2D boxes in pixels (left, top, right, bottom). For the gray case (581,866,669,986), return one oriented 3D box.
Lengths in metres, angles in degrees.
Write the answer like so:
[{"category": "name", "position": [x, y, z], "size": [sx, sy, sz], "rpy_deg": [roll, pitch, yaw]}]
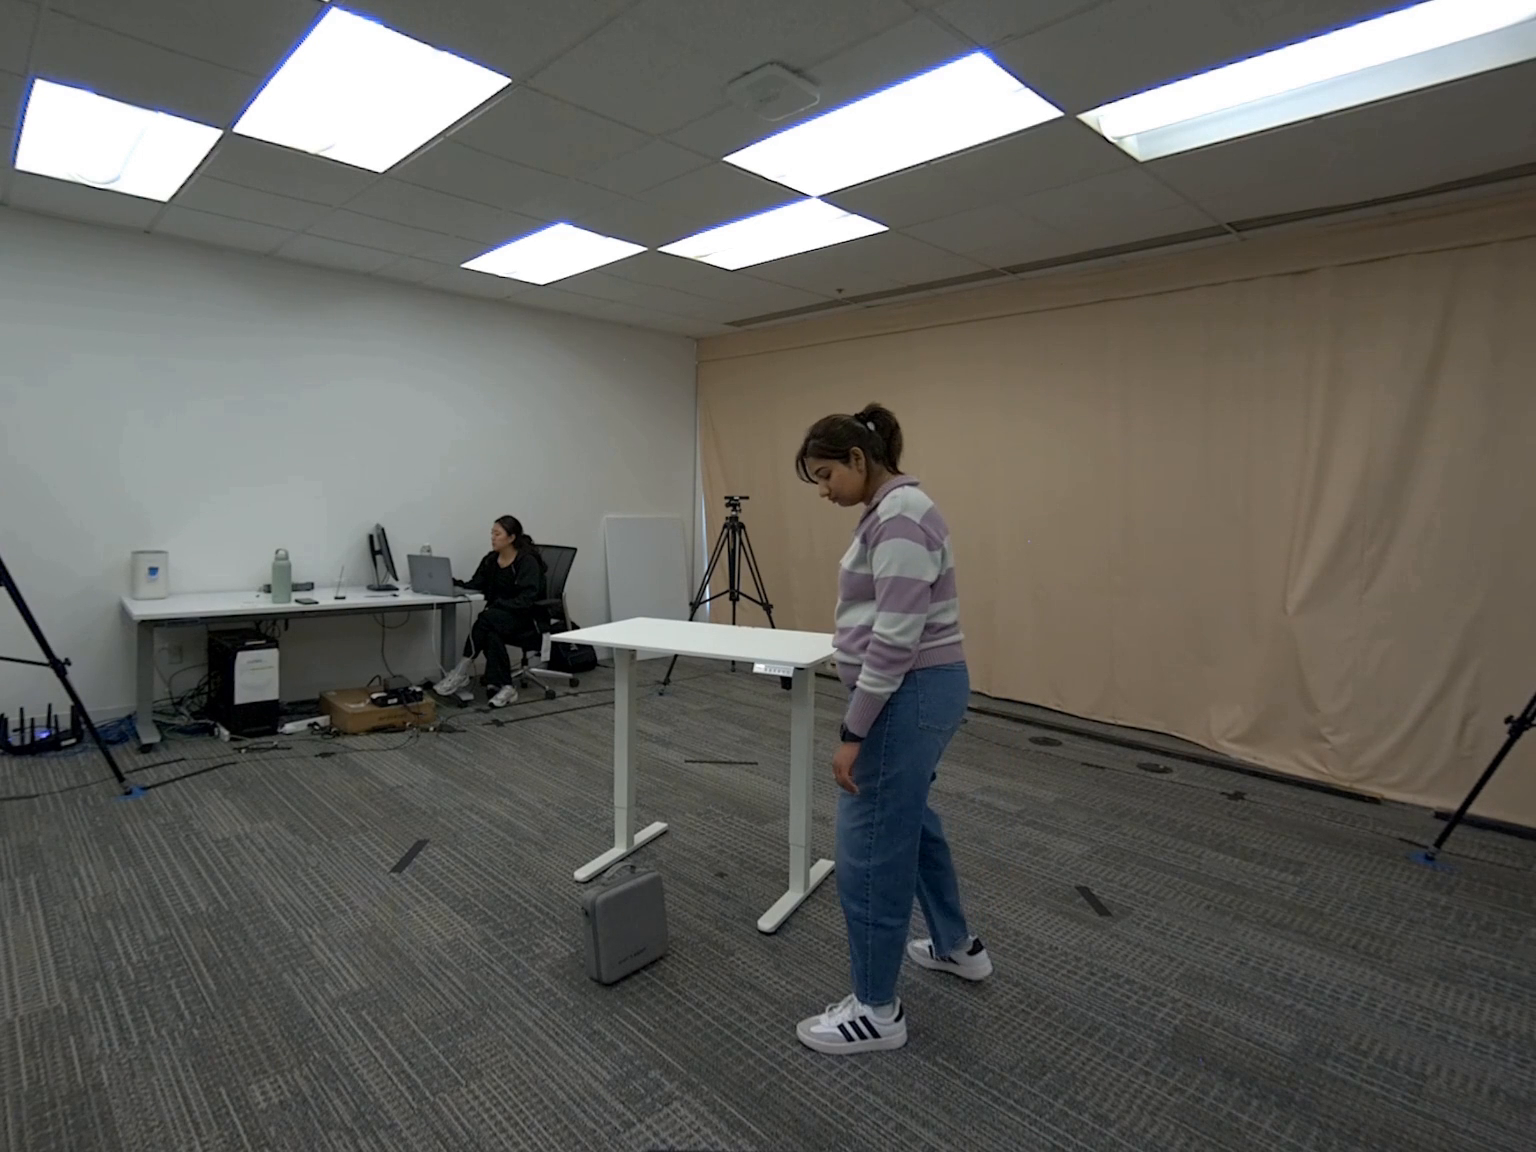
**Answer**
[{"category": "gray case", "position": [-0.430, 1.026, 2.479], "size": [0.106, 0.261, 0.251], "rpy_deg": [-9, -3, 43]}]
